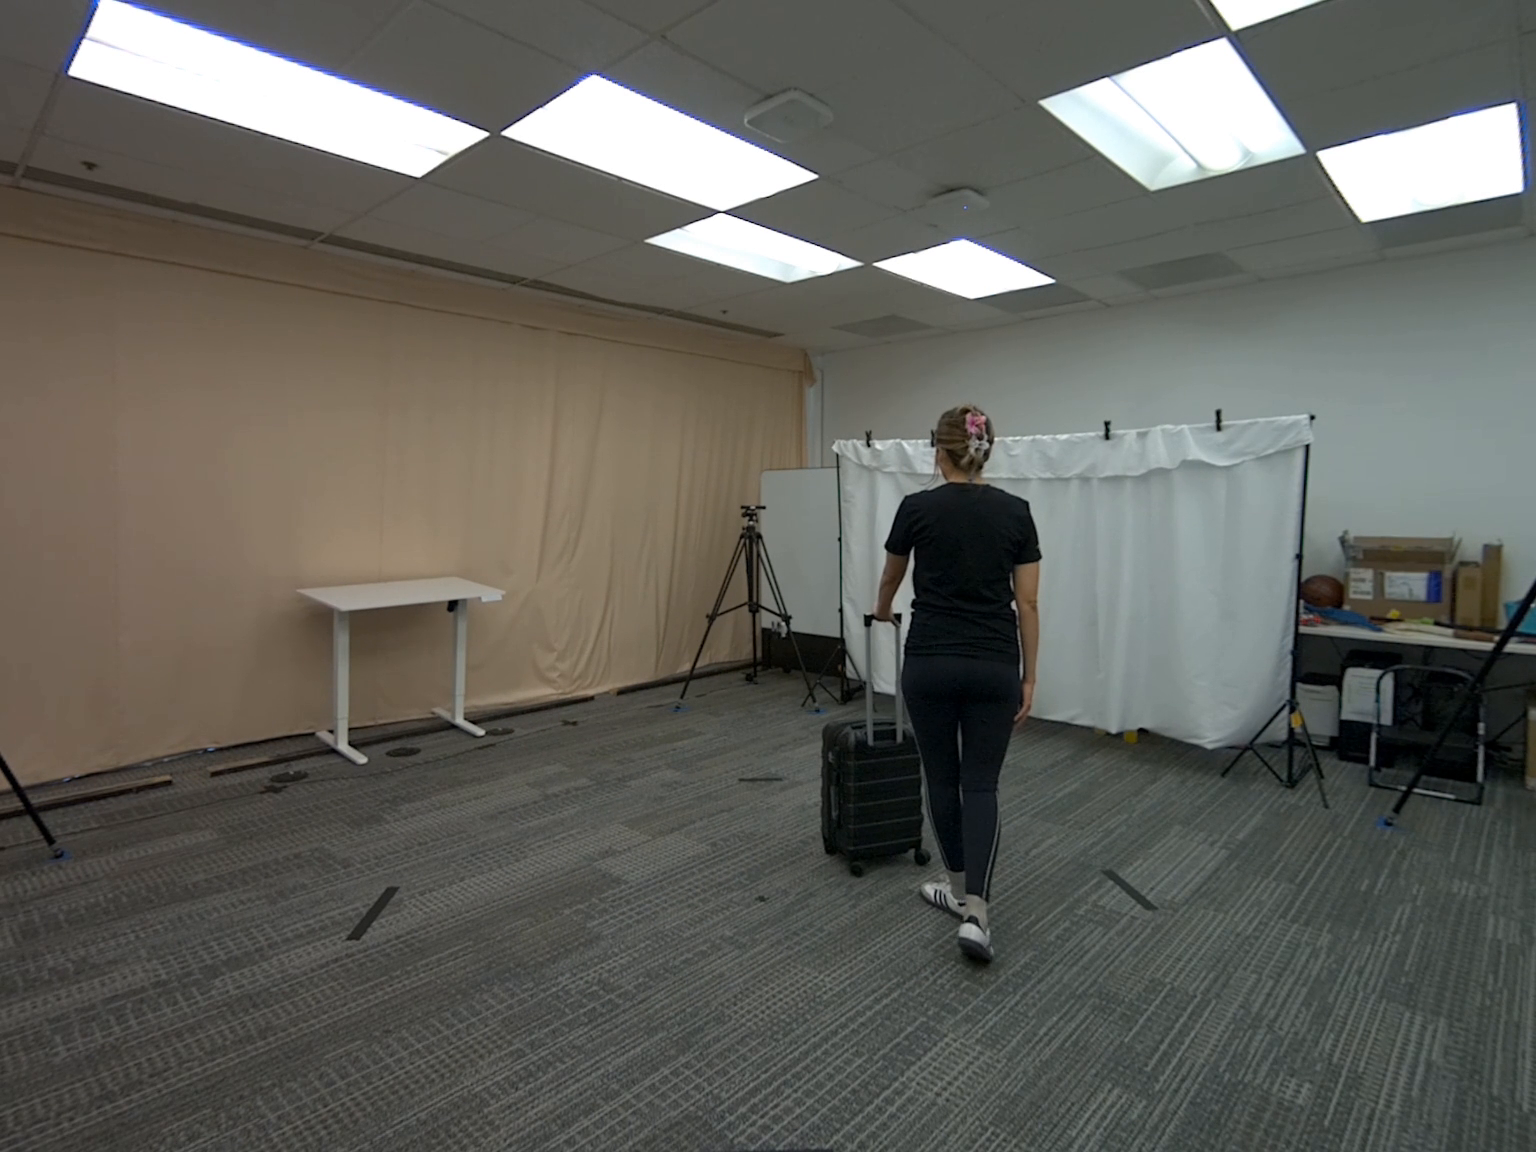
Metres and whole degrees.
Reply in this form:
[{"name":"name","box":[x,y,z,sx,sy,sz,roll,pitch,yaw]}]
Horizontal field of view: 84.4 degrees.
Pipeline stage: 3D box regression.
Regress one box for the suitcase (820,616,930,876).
[{"name":"suitcase","box":[0.410,0.635,3.315,0.377,0.978,0.261,-1,0,-17]}]
